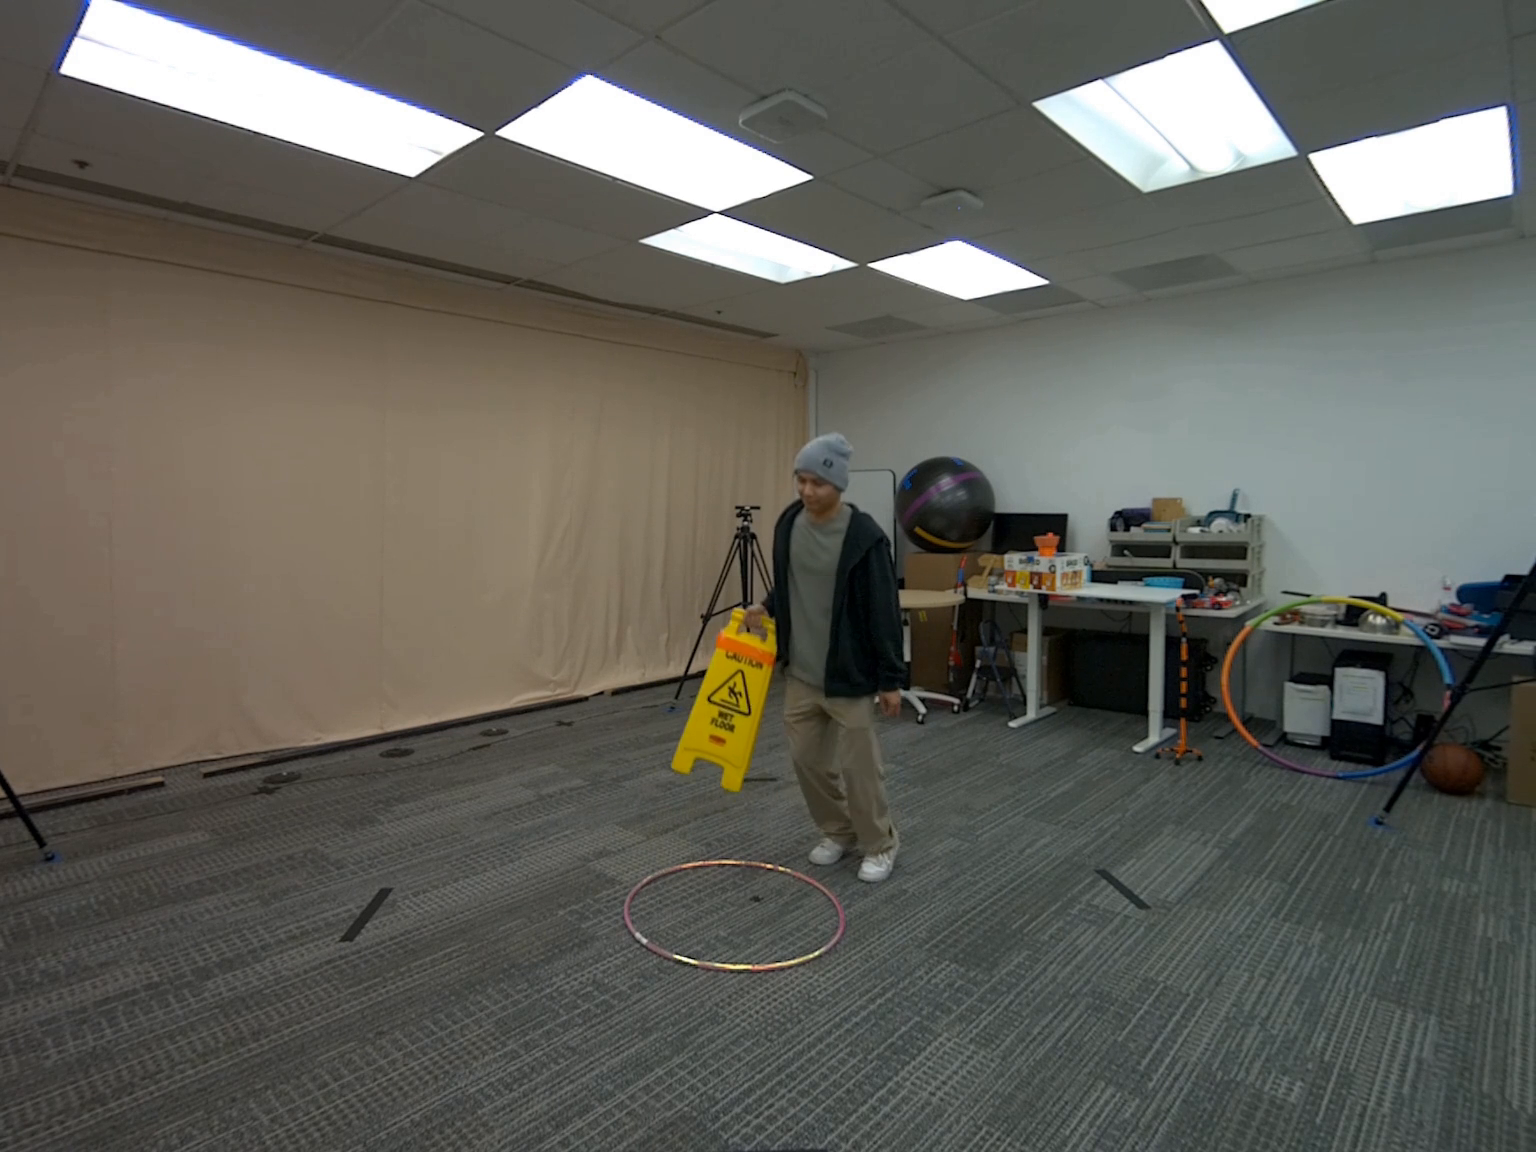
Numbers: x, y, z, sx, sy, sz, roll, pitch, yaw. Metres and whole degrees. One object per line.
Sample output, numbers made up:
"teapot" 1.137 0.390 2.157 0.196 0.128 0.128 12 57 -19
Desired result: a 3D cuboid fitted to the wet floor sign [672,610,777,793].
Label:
"wet floor sign" -0.136 0.474 3.293 0.284 0.645 0.288 15 5 5
